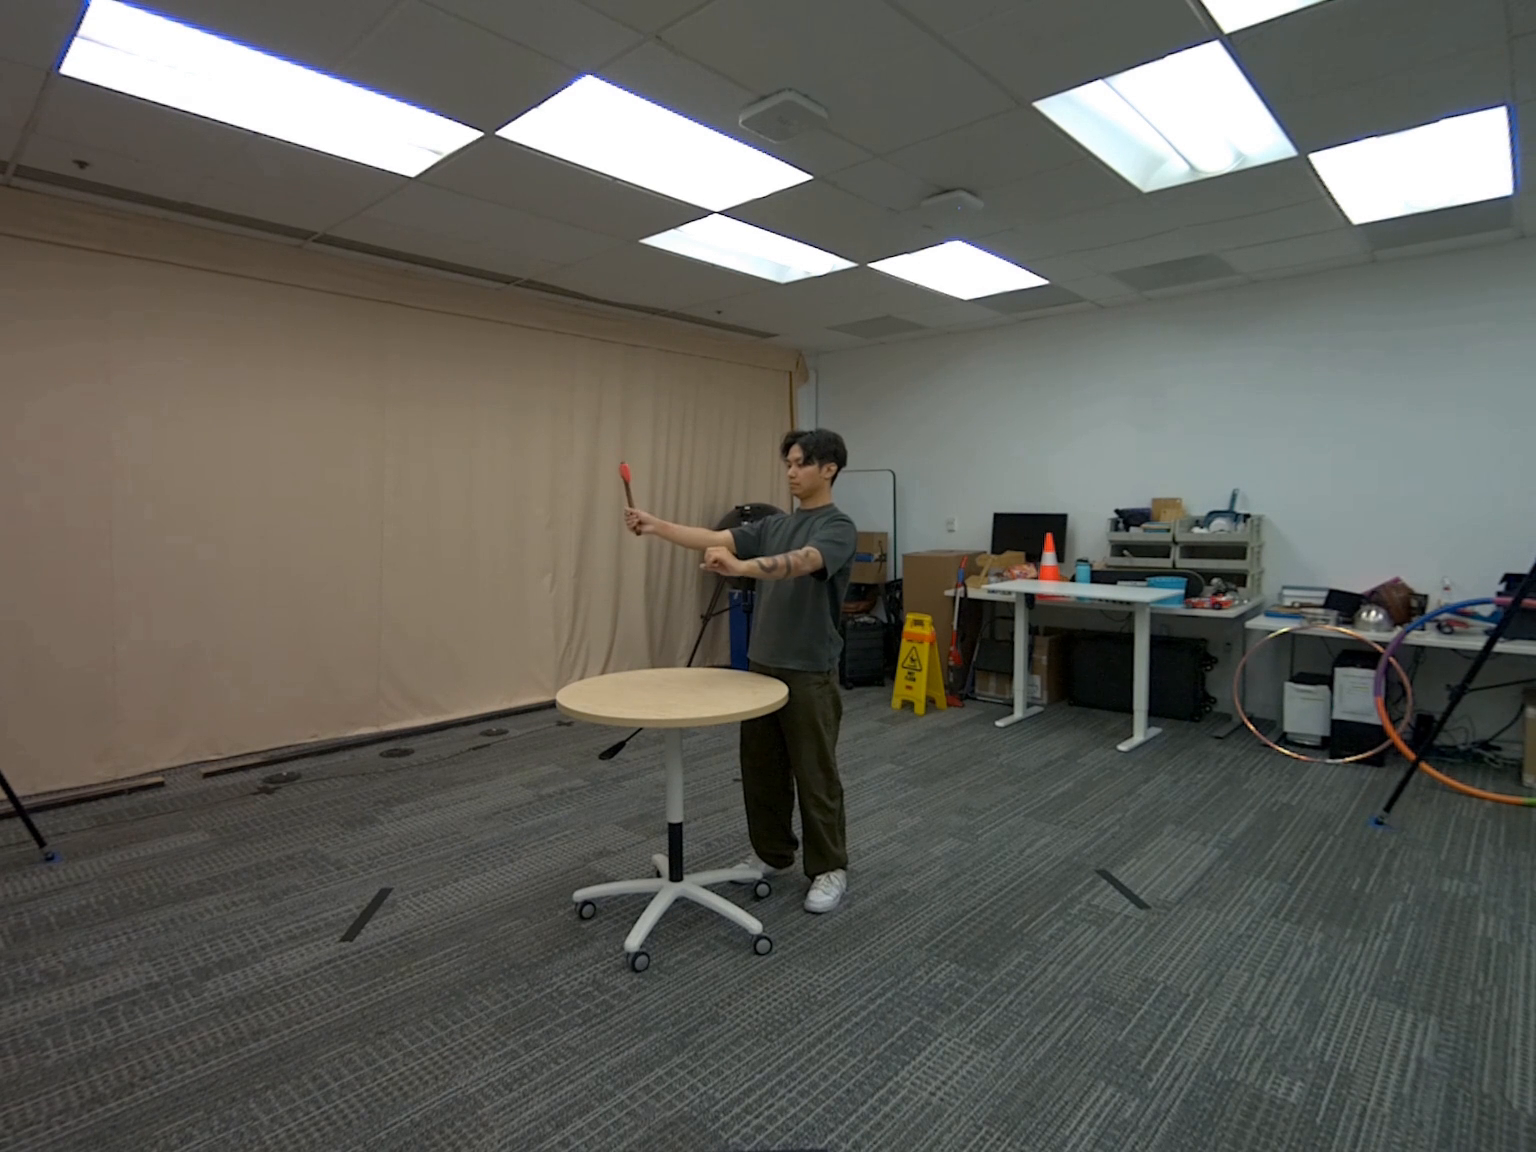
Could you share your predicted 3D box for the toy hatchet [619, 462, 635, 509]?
[{"bbox_3d":[-0.473,-0.276,2.985,0.029,0.275,0.131,-9,-21,-21],"label":"toy hatchet"}]
